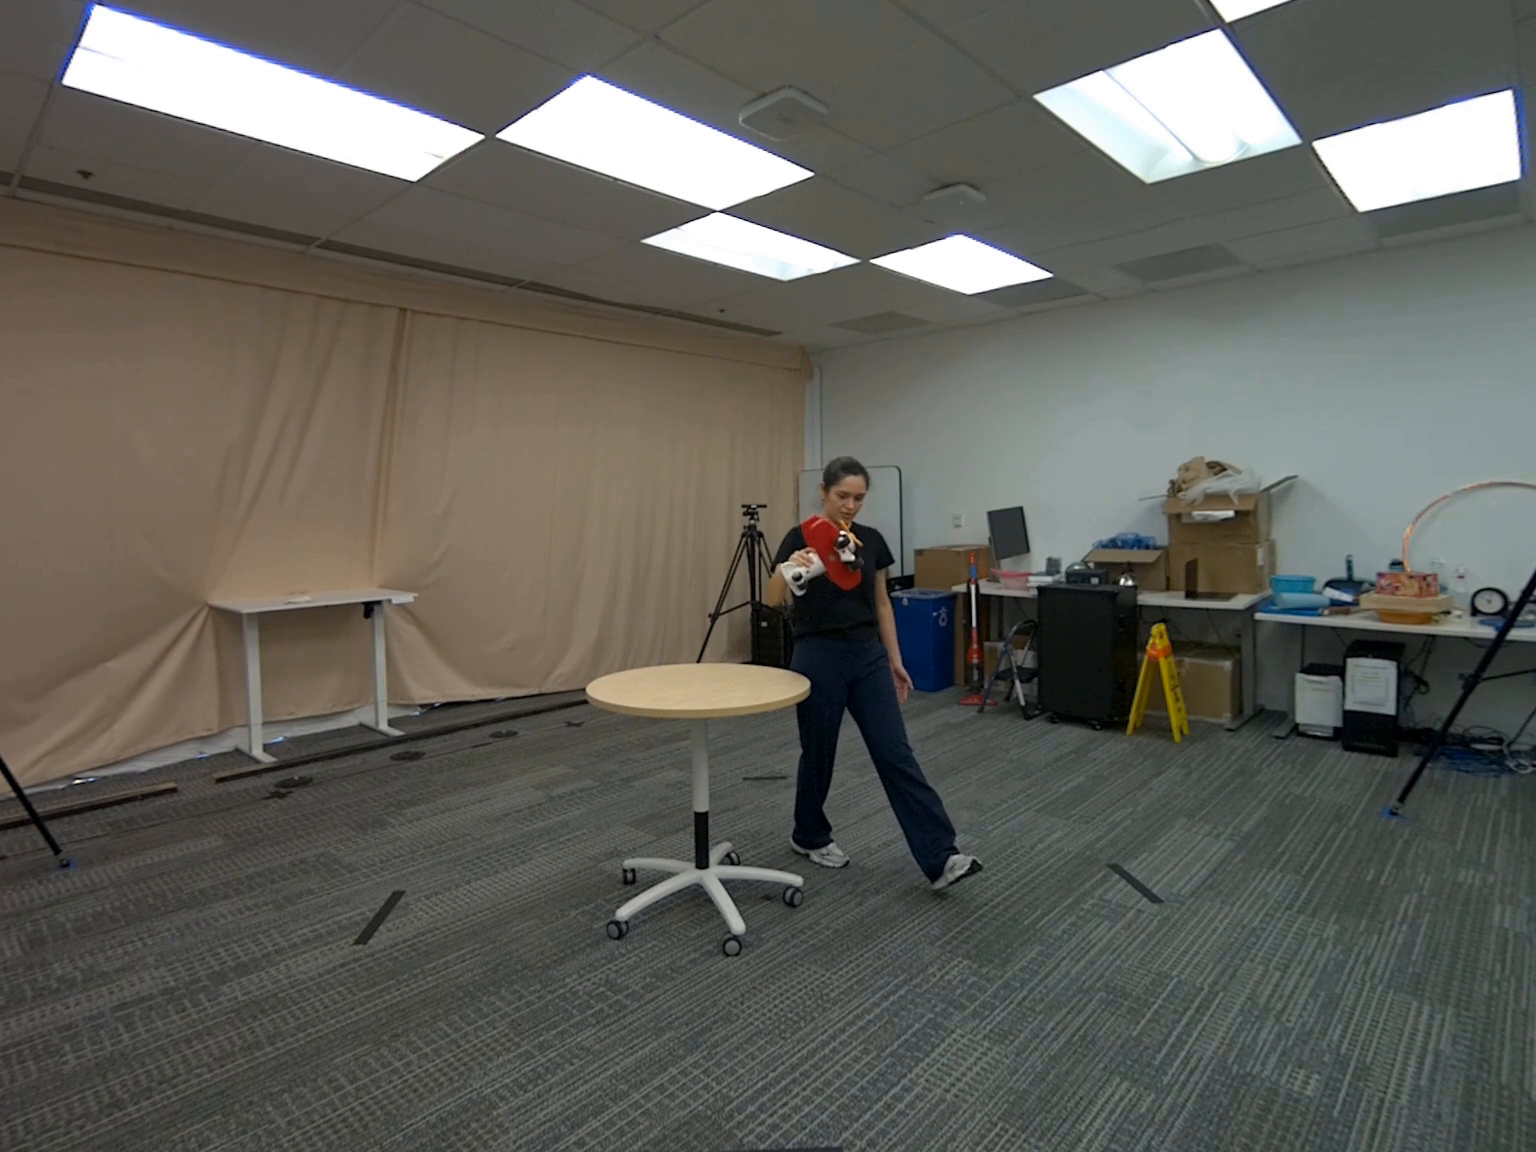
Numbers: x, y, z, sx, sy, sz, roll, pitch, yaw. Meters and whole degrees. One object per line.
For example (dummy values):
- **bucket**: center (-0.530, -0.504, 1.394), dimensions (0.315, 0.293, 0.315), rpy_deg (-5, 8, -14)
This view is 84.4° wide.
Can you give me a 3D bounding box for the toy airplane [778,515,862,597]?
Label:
- **toy airplane**: center (0.172, -0.067, 2.686), dimensions (0.259, 0.248, 0.158), rpy_deg (-2, 20, -2)
